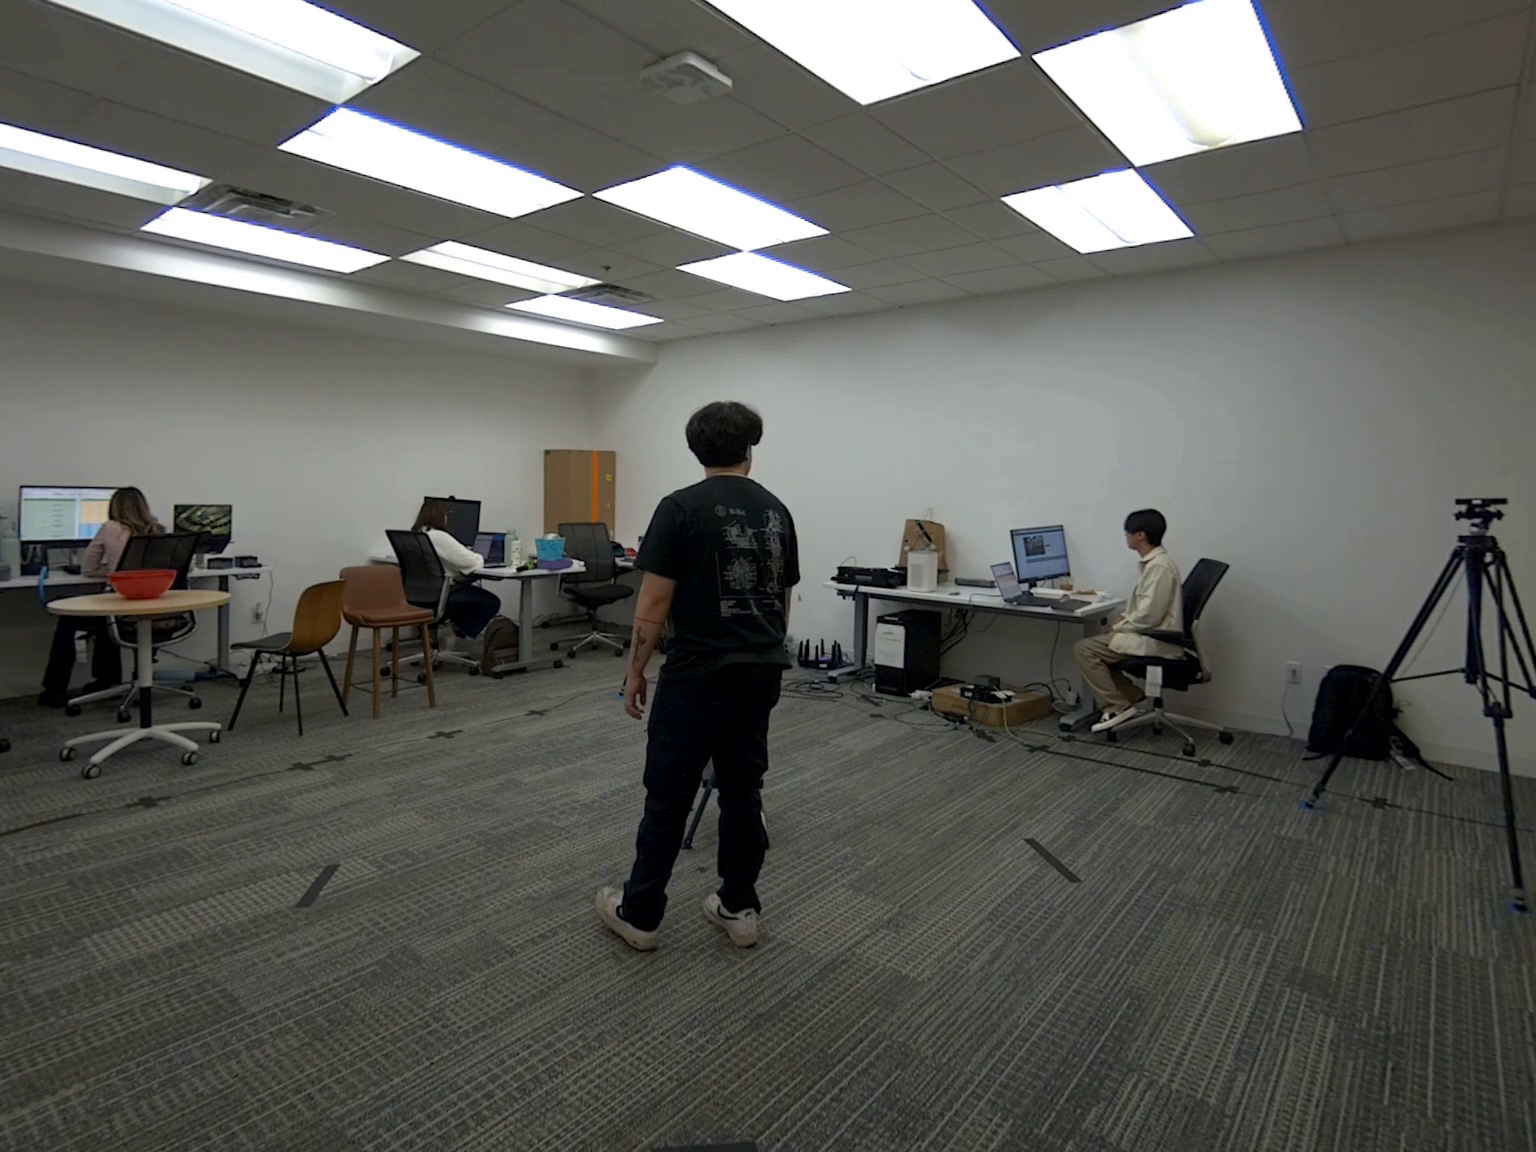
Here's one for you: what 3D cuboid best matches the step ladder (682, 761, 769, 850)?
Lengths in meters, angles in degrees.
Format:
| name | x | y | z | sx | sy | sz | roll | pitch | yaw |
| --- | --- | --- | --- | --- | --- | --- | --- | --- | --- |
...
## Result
| name | x | y | z | sx | sy | sz | roll | pitch | yaw |
| --- | --- | --- | --- | --- | --- | --- | --- | --- | --- |
| step ladder | -0.182 | 0.727 | 3.477 | 0.348 | 0.604 | 0.433 | 1 | 3 | -4 |
